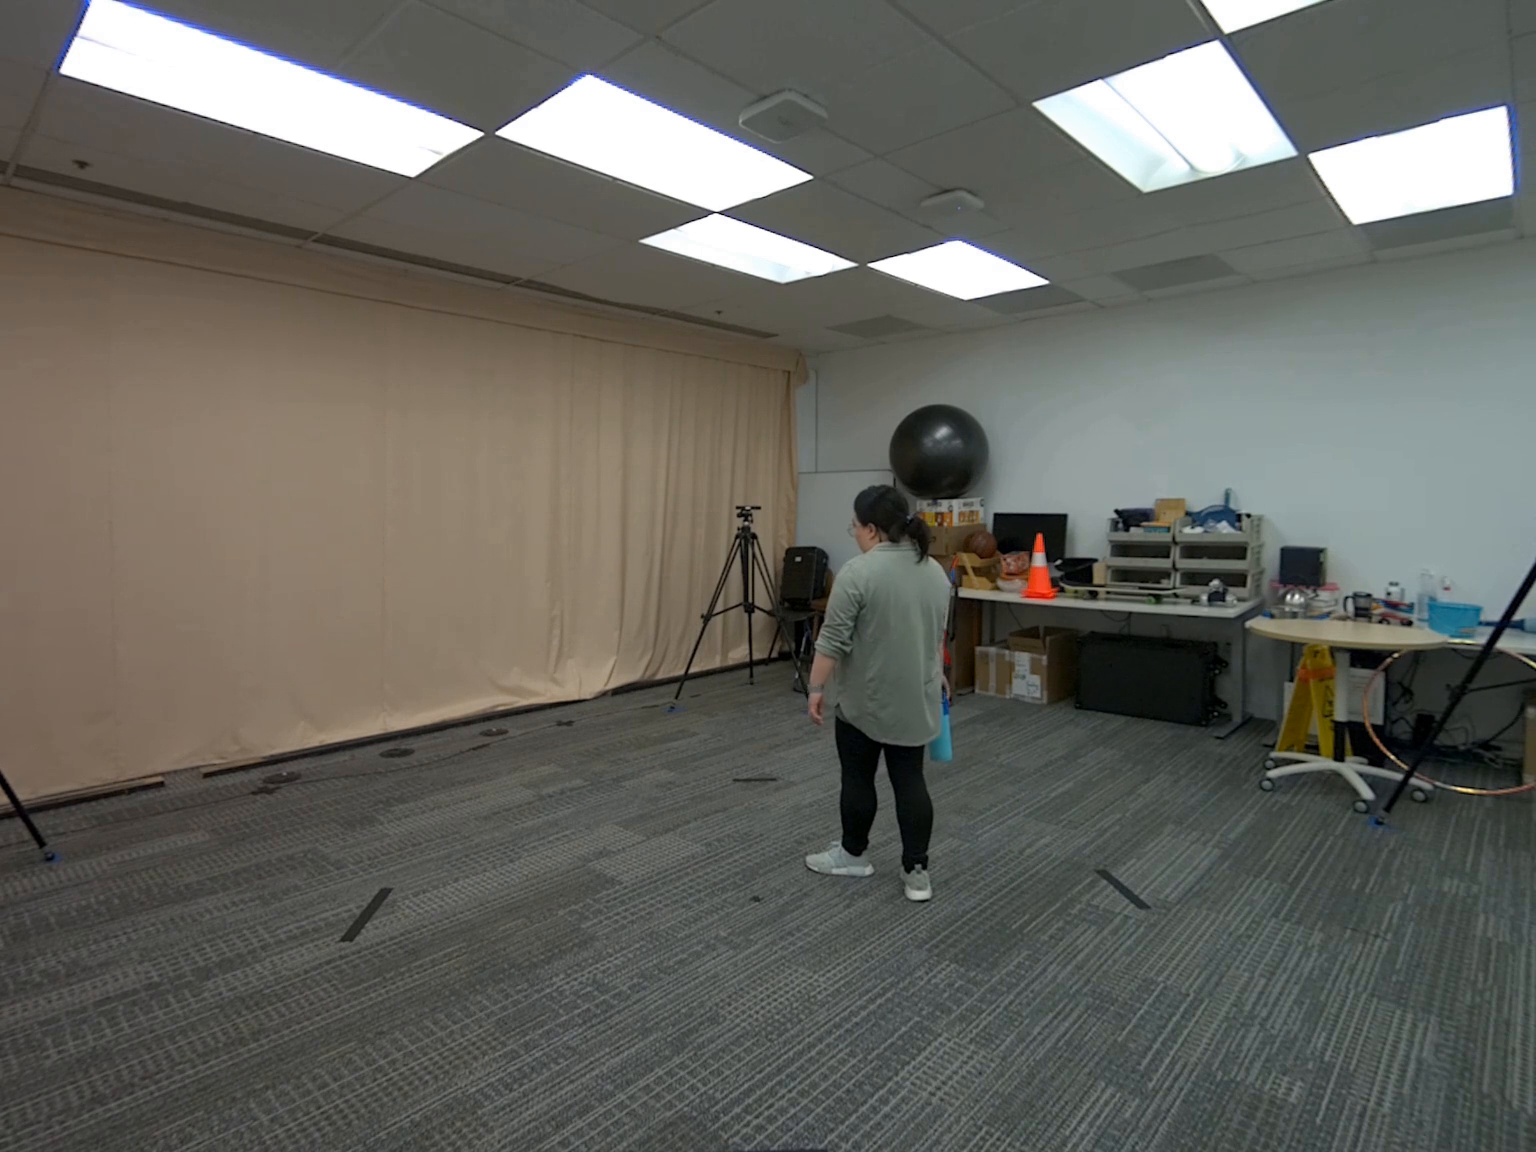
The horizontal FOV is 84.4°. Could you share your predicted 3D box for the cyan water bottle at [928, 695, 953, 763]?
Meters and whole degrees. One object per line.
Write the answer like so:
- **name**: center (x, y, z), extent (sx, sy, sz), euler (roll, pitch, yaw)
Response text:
- **cyan water bottle**: center (0.670, 0.578, 3.342), extent (0.092, 0.284, 0.092), euler (-4, -3, -2)
